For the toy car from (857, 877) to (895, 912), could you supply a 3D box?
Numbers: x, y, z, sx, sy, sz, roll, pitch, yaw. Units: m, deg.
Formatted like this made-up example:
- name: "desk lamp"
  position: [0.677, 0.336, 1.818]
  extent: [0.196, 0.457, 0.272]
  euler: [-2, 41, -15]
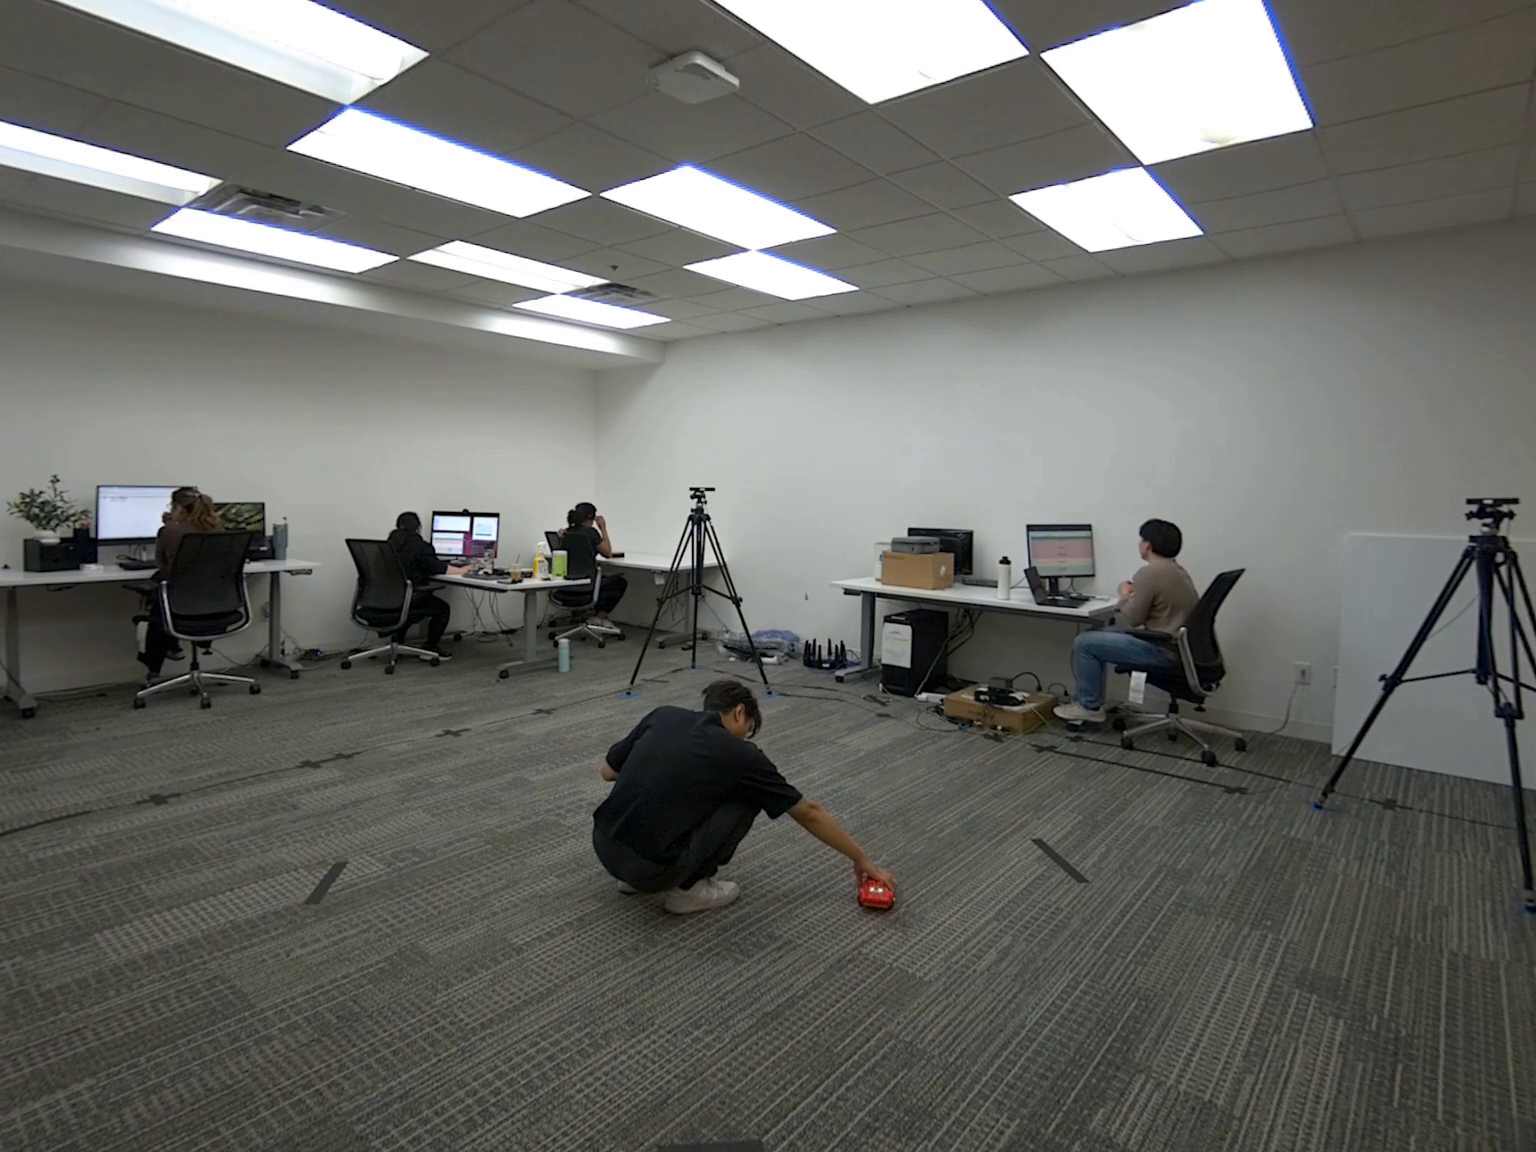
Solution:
- name: "toy car"
  position: [0.364, 1.072, 2.904]
  extent: [0.132, 0.083, 0.250]
  euler: [3, -4, 10]
